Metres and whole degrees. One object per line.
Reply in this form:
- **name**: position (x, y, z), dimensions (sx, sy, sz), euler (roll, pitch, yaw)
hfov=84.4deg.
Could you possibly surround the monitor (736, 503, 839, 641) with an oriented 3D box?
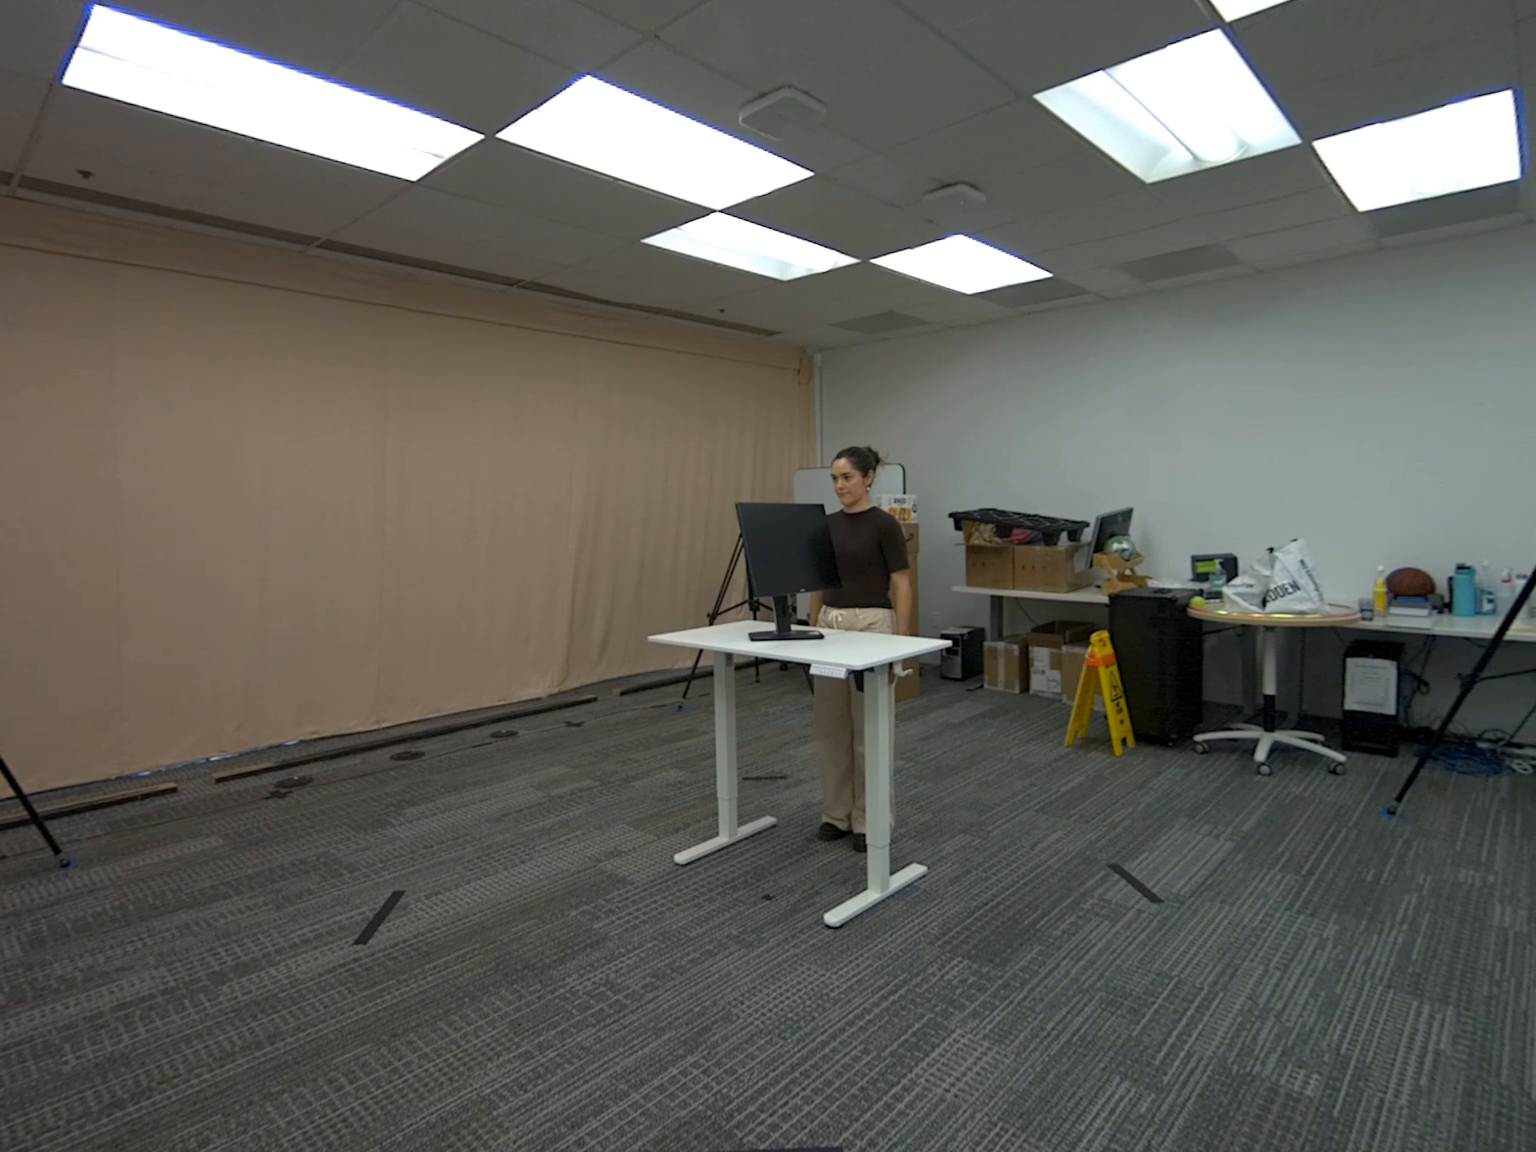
- **monitor**: position (0.078, -0.018, 3.236), dimensions (0.193, 0.522, 0.523), euler (2, 3, 36)
